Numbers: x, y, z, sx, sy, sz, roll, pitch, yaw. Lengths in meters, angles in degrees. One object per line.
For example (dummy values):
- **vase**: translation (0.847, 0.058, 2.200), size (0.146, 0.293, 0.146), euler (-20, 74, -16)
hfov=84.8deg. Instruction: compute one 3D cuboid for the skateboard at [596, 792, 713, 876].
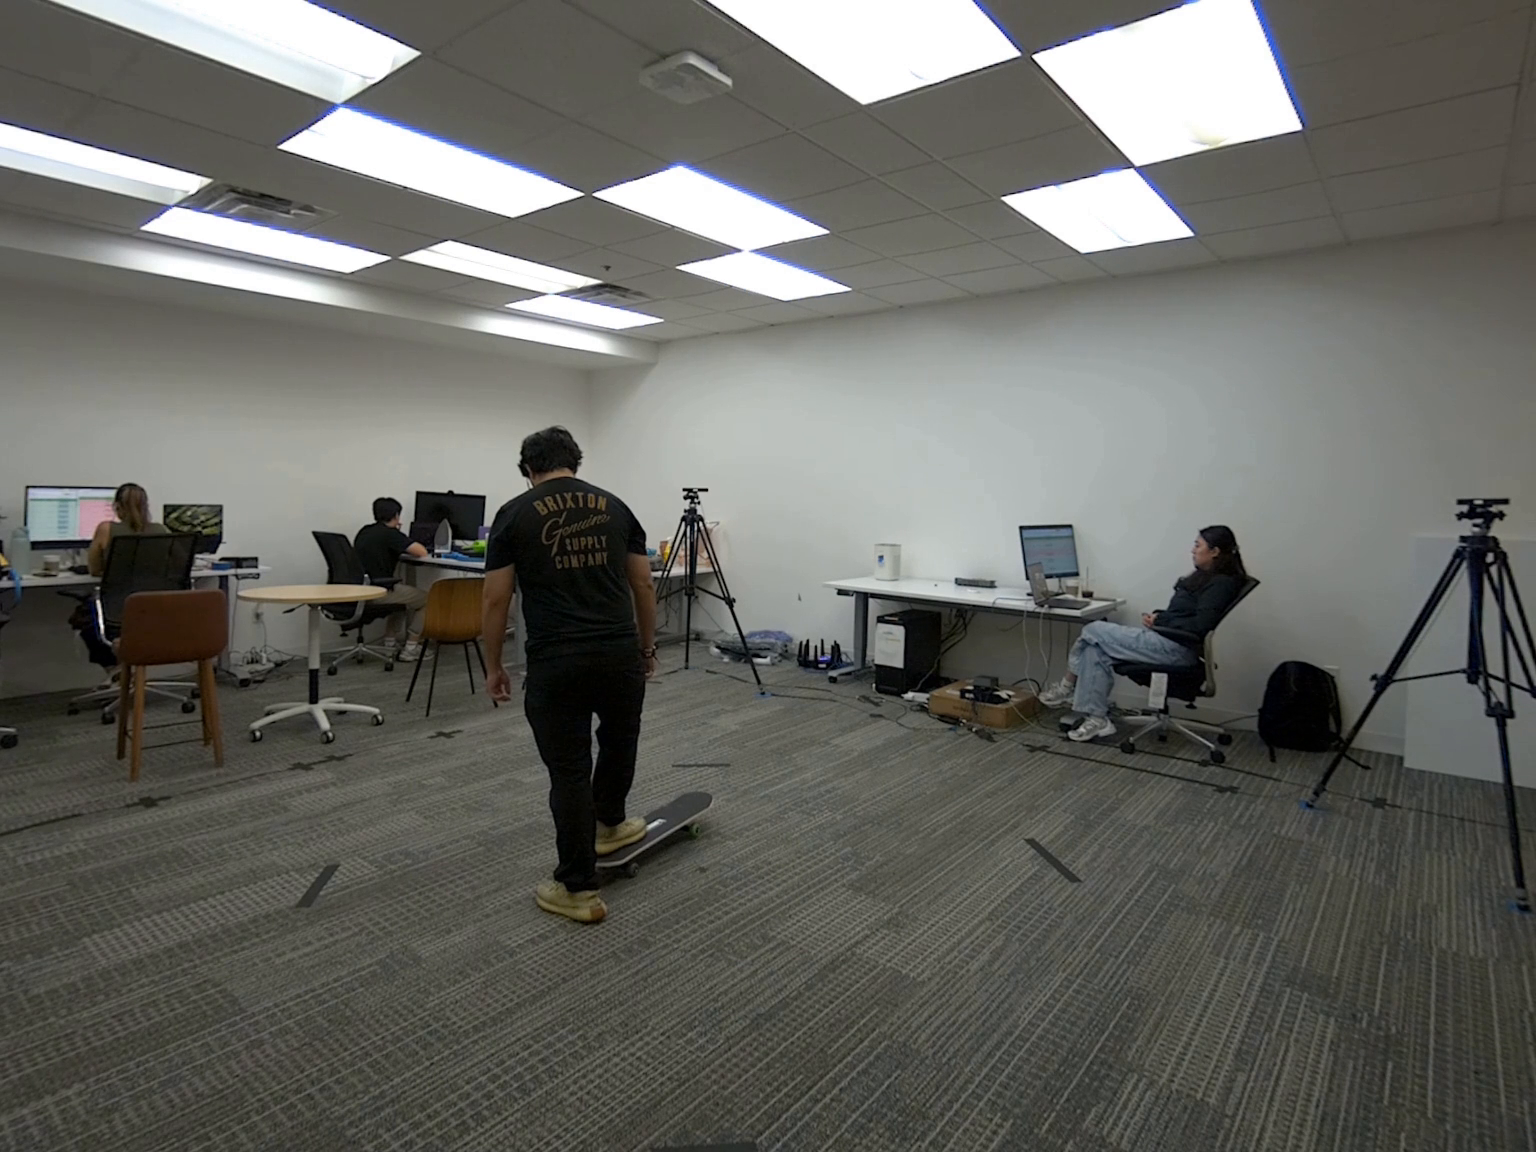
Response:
- **skateboard**: translation (-0.464, 0.999, 3.252), size (0.199, 0.110, 0.767), euler (-1, 5, 29)
